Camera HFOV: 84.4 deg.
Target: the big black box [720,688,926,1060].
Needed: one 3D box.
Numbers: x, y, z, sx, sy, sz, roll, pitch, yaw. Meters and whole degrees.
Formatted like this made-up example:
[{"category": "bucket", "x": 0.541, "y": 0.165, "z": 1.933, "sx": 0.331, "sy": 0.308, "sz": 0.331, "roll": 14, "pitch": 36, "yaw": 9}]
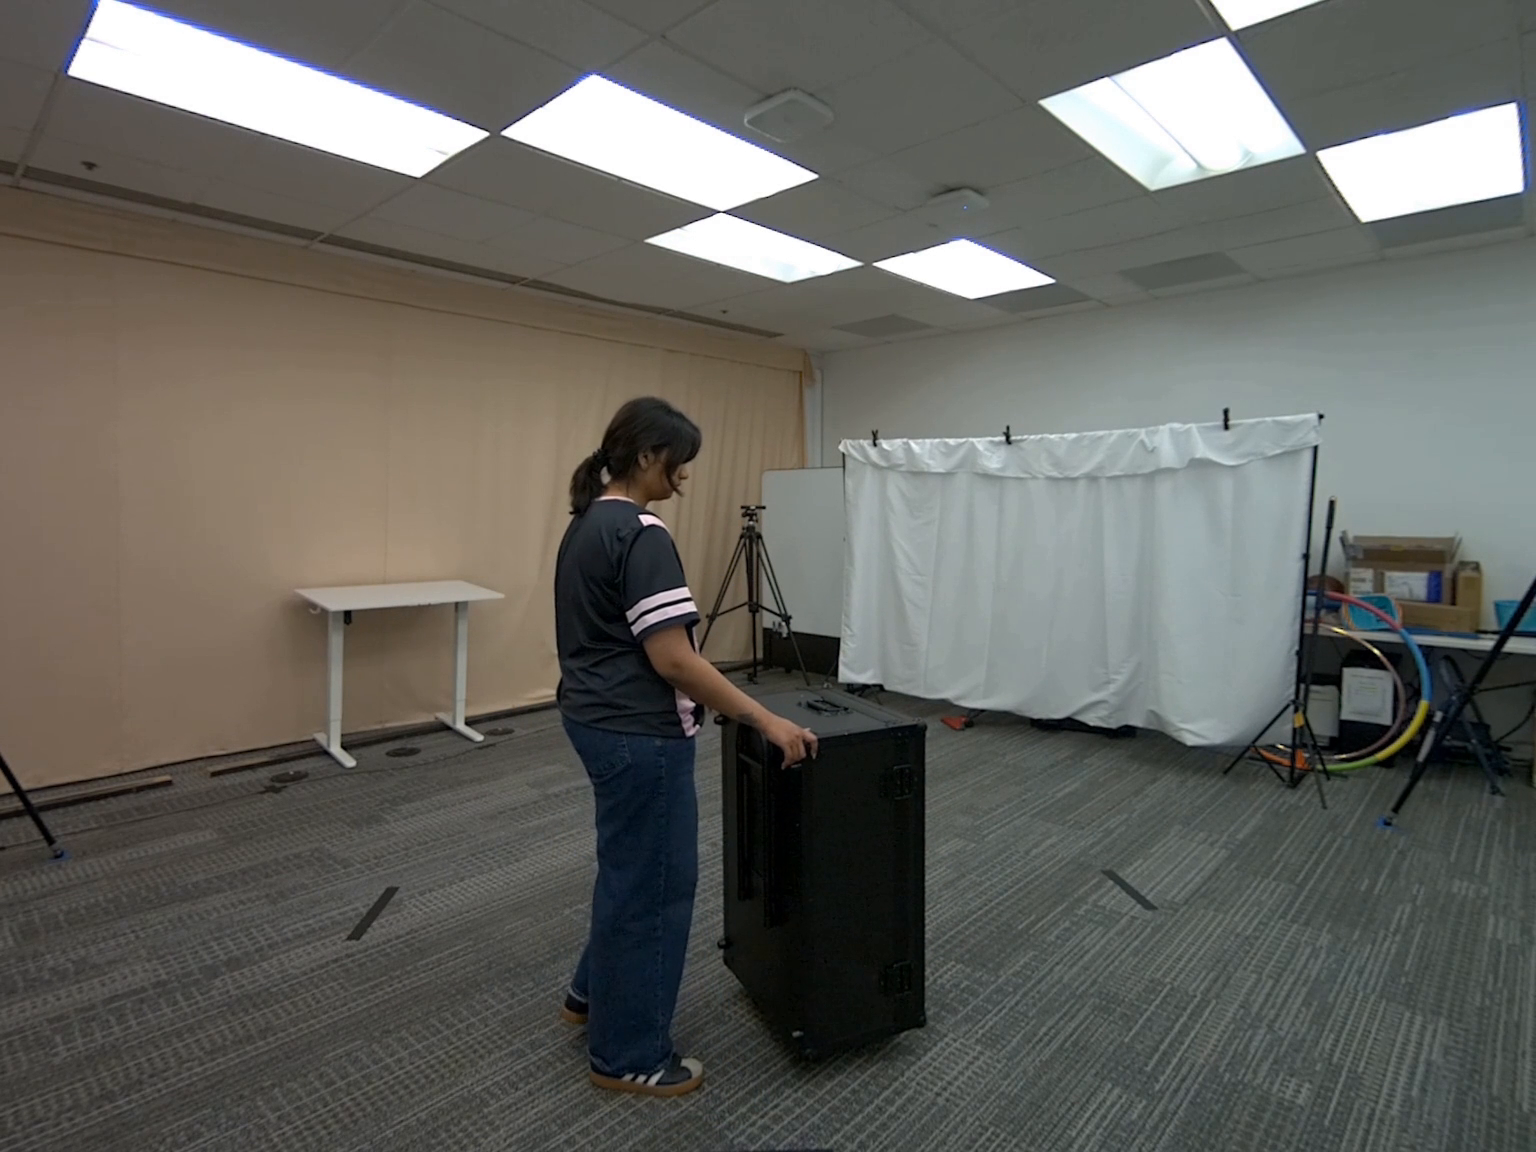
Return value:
[{"category": "big black box", "x": 0.144, "y": 0.785, "z": 2.260, "sx": 0.376, "sy": 0.866, "sz": 0.537, "roll": -2, "pitch": 4, "yaw": -26}]
